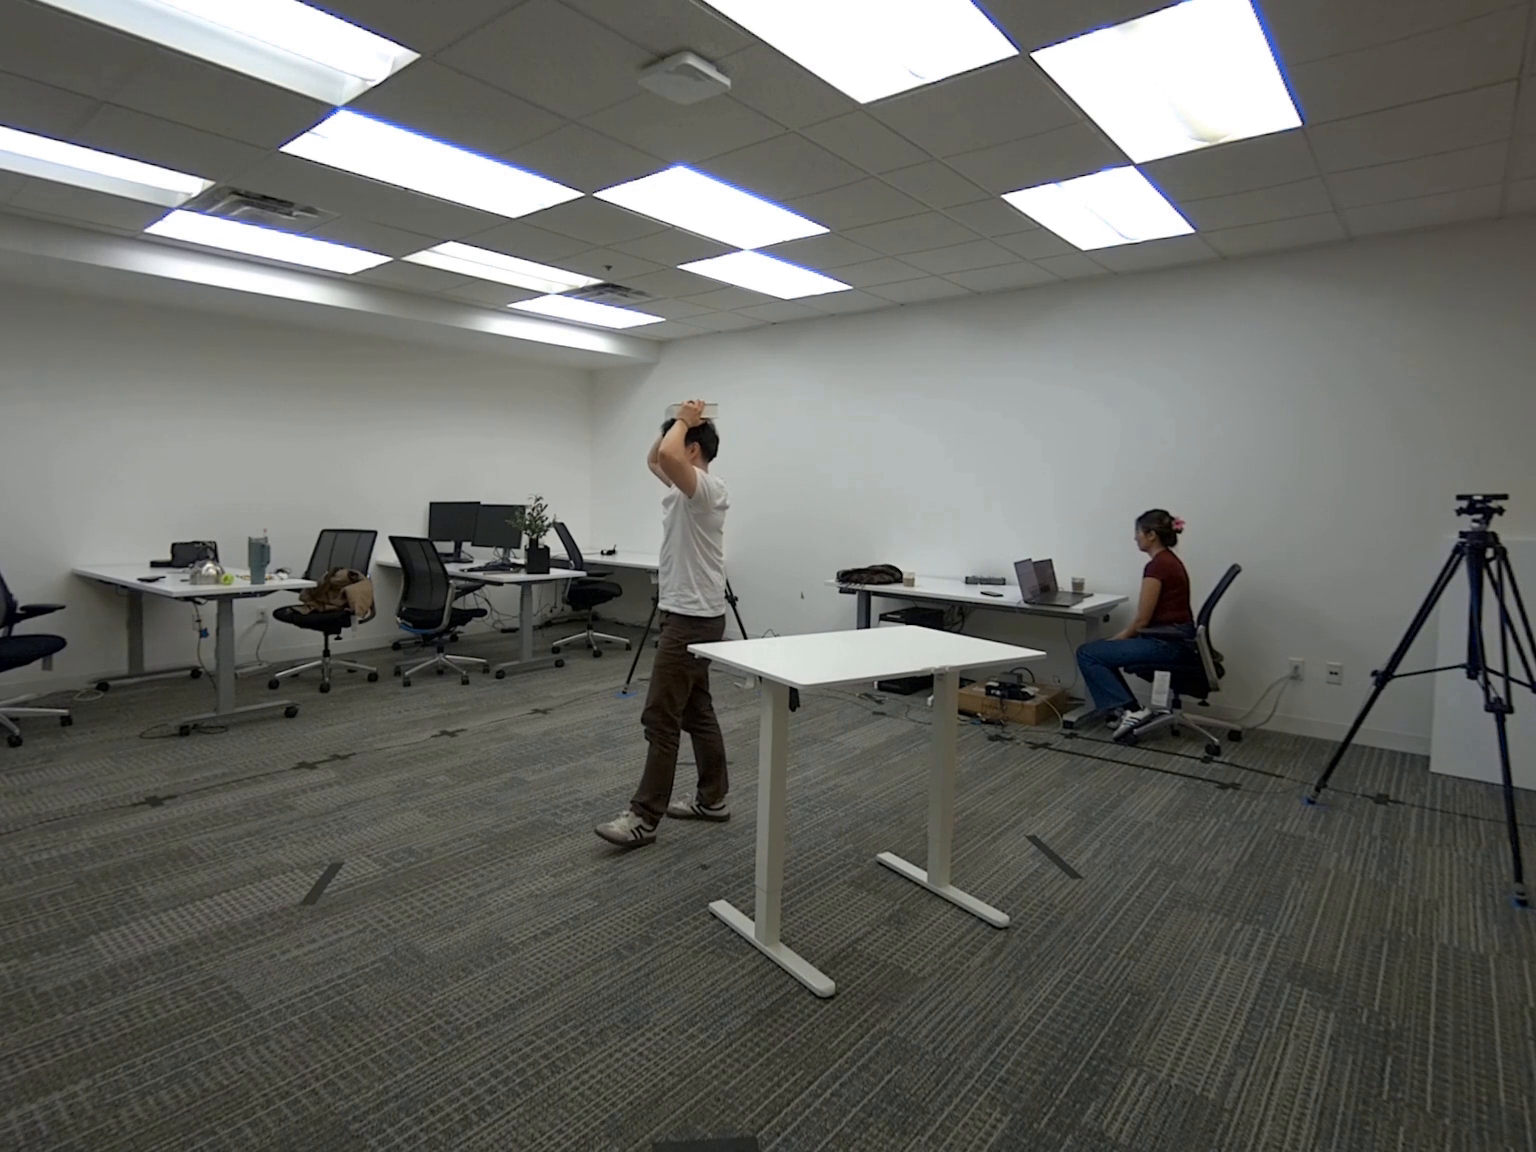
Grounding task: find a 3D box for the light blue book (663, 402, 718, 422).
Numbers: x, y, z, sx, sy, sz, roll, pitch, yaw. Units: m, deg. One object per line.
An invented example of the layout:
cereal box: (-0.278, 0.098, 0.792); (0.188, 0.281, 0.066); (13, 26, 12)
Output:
light blue book: (-0.328, -0.673, 3.452); (0.189, 0.059, 0.265); (-1, 7, -11)
